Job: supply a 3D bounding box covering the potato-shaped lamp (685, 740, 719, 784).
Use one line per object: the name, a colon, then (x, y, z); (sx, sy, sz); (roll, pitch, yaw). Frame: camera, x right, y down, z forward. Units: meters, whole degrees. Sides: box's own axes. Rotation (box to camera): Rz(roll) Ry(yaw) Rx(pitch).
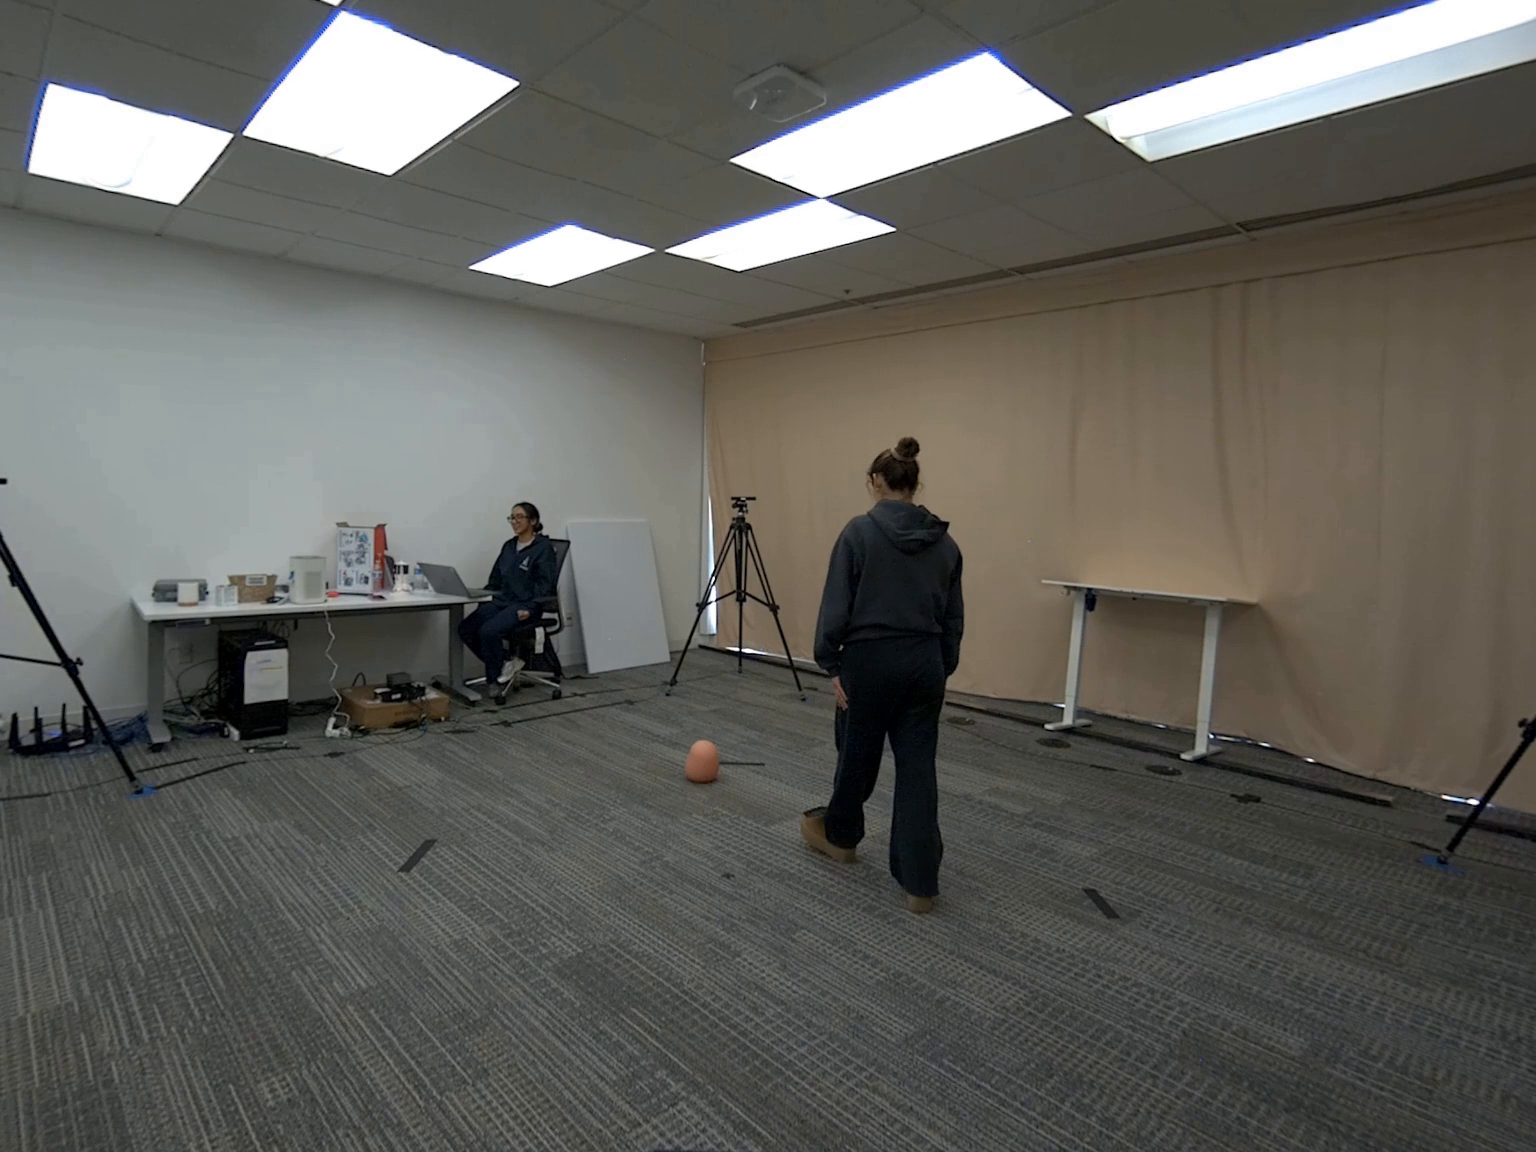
potato-shaped lamp: (-0.345, 0.906, 4.176); (0.161, 0.197, 0.176); (1, 8, -31)
